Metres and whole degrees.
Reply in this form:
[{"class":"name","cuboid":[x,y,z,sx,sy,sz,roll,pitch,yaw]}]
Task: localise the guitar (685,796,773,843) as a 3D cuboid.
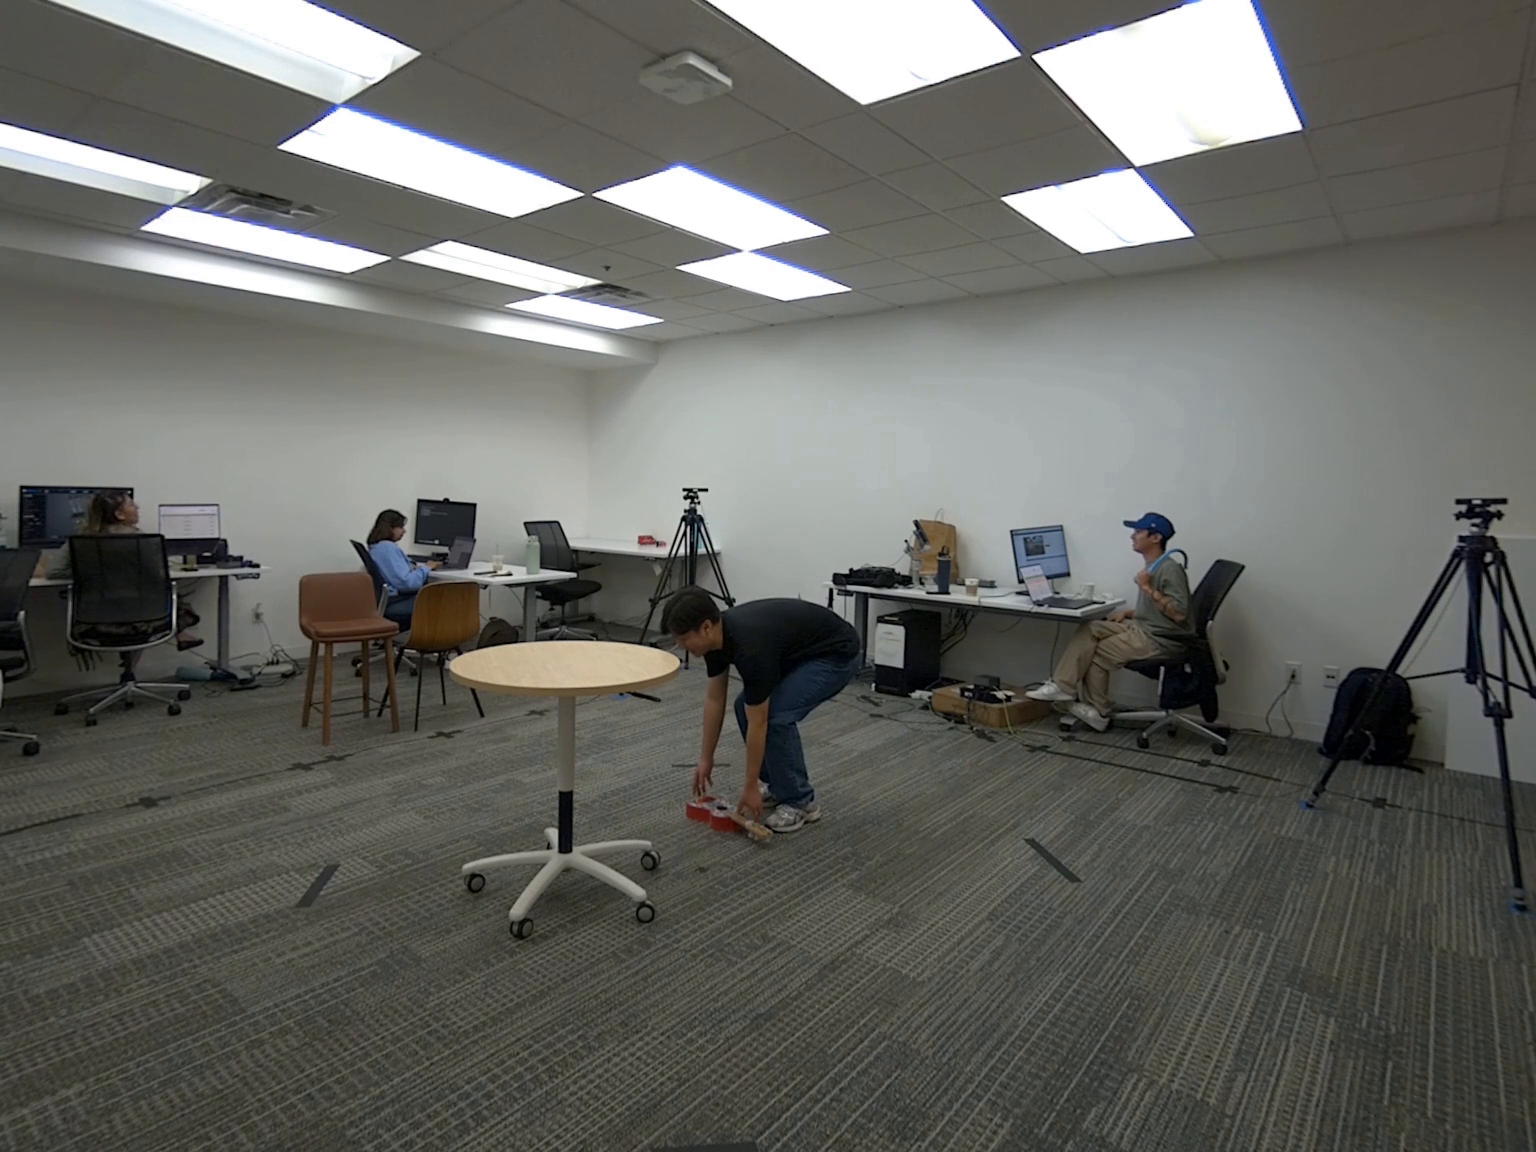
[{"class":"guitar","cuboid":[-0.182,0.999,3.484,0.188,0.070,0.512,-2,6,-26]}]
